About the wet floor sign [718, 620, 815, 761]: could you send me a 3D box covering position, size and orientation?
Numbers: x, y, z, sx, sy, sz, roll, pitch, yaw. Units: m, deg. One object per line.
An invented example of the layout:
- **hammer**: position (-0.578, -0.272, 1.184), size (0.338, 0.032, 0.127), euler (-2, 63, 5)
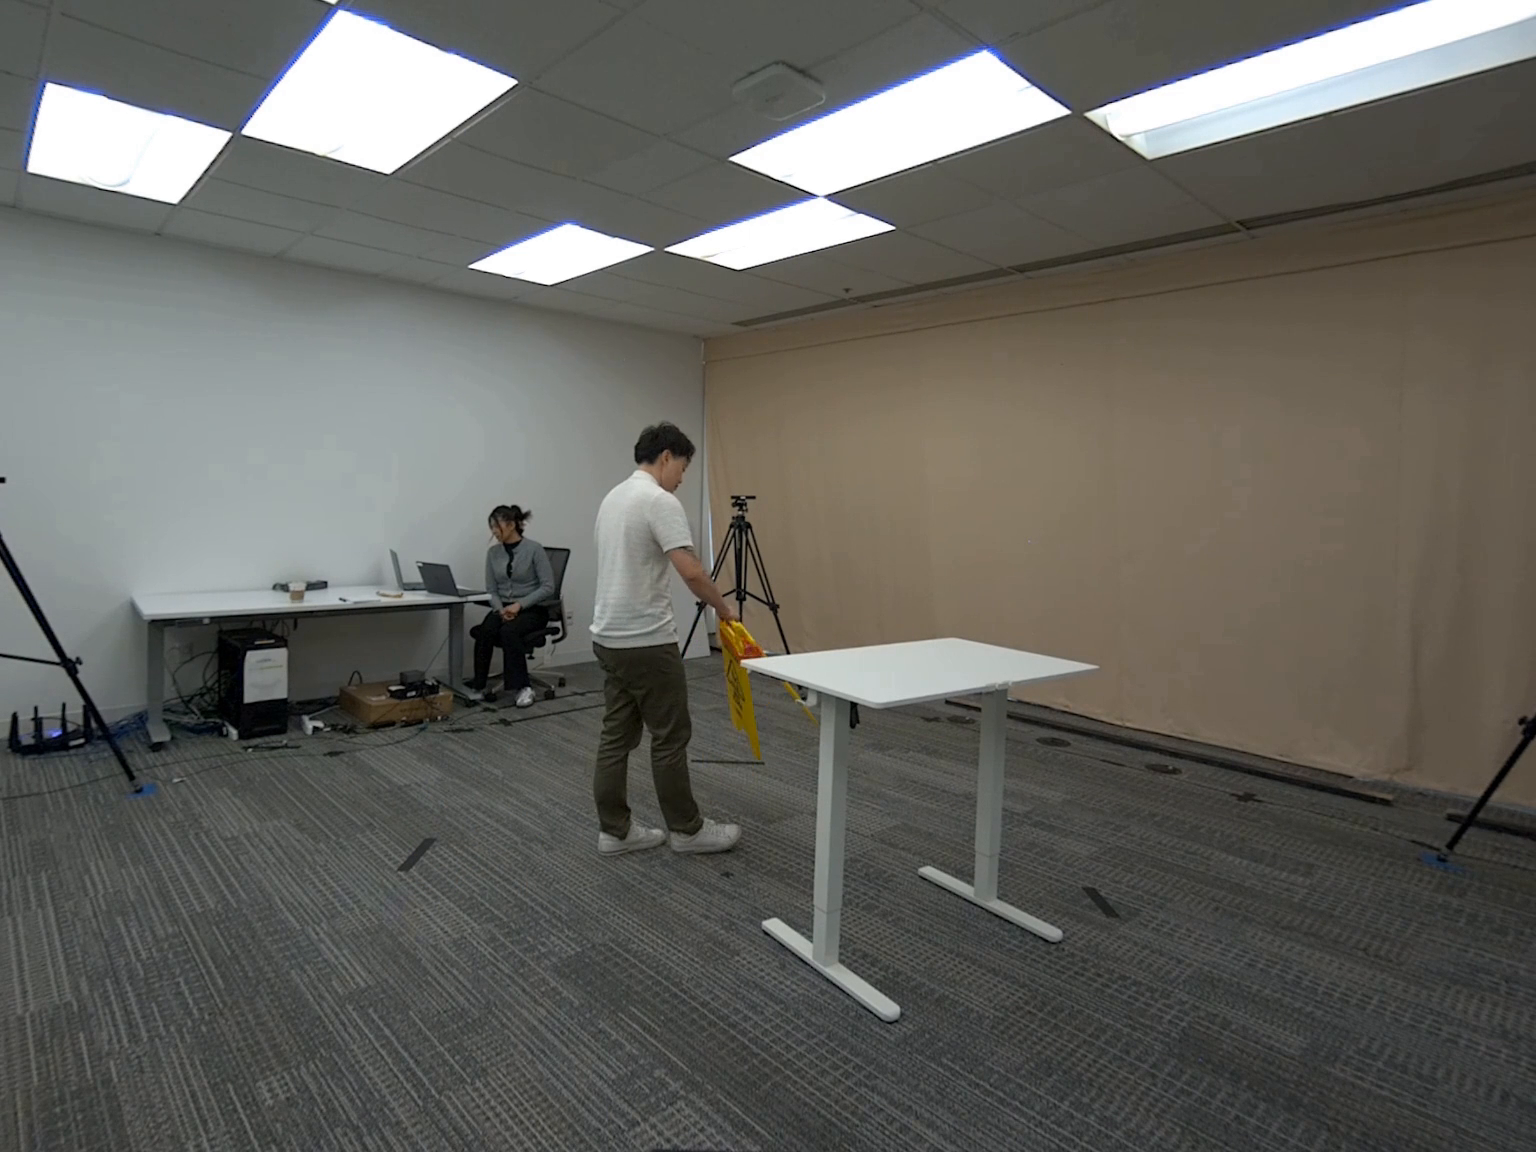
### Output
- **wet floor sign**: position (-0.068, 0.380, 3.415), size (0.288, 0.629, 0.291), euler (-28, 35, -12)
